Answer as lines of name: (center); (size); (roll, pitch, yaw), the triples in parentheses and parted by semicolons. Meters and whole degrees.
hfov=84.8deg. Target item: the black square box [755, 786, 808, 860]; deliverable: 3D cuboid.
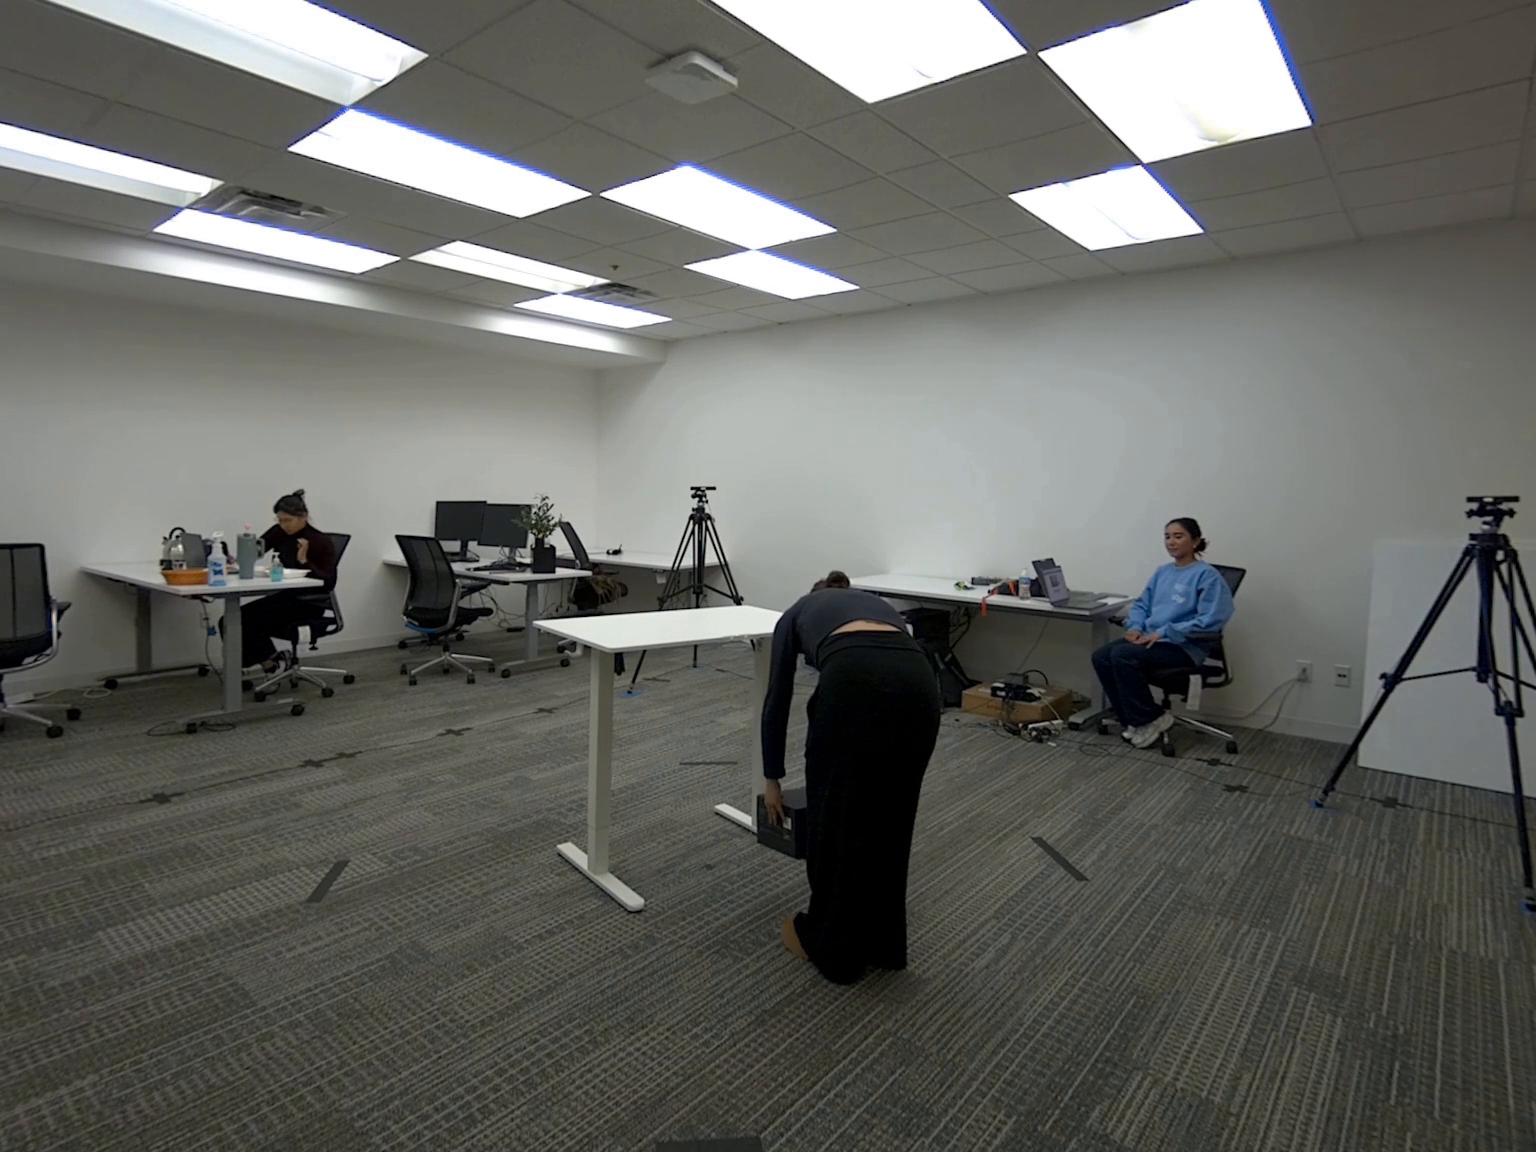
black square box: (0.105, 0.799, 2.767); (0.221, 0.156, 0.223); (1, -2, -34)
